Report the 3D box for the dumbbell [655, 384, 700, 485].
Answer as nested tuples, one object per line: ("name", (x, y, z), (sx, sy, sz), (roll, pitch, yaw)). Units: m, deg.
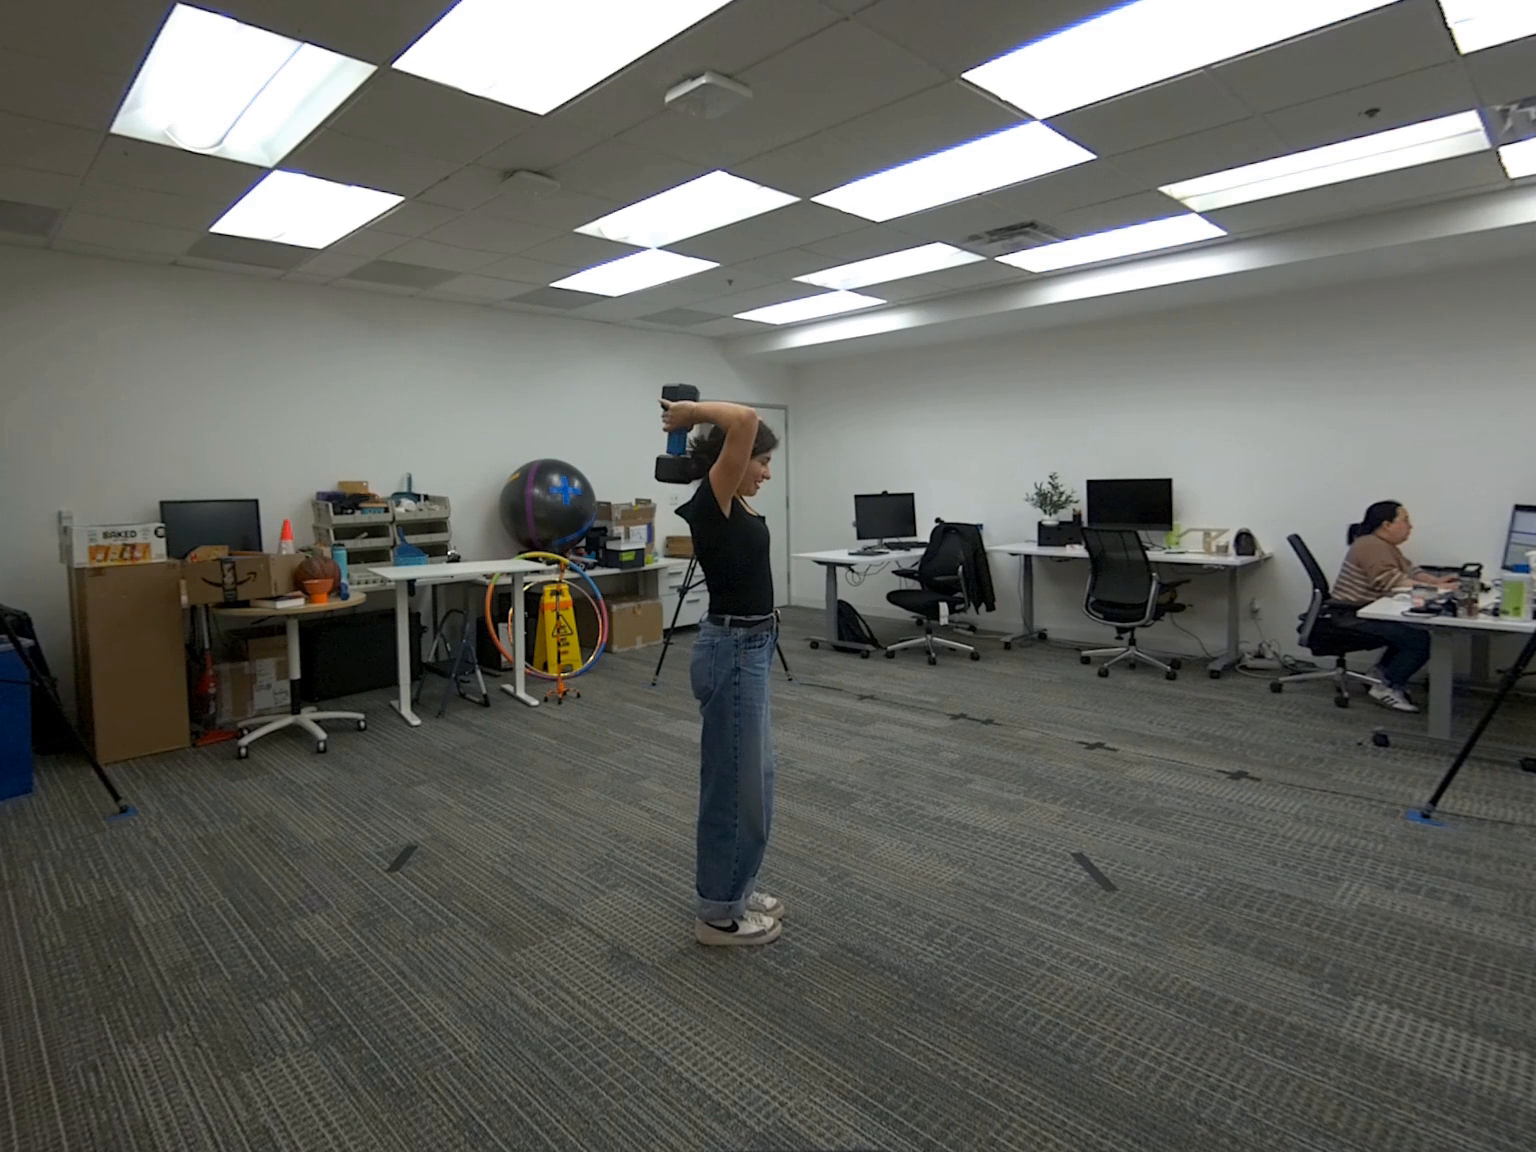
("dumbbell", (-0.266, -0.429, 2.552), (0.126, 0.293, 0.105), (6, 0, 33))
